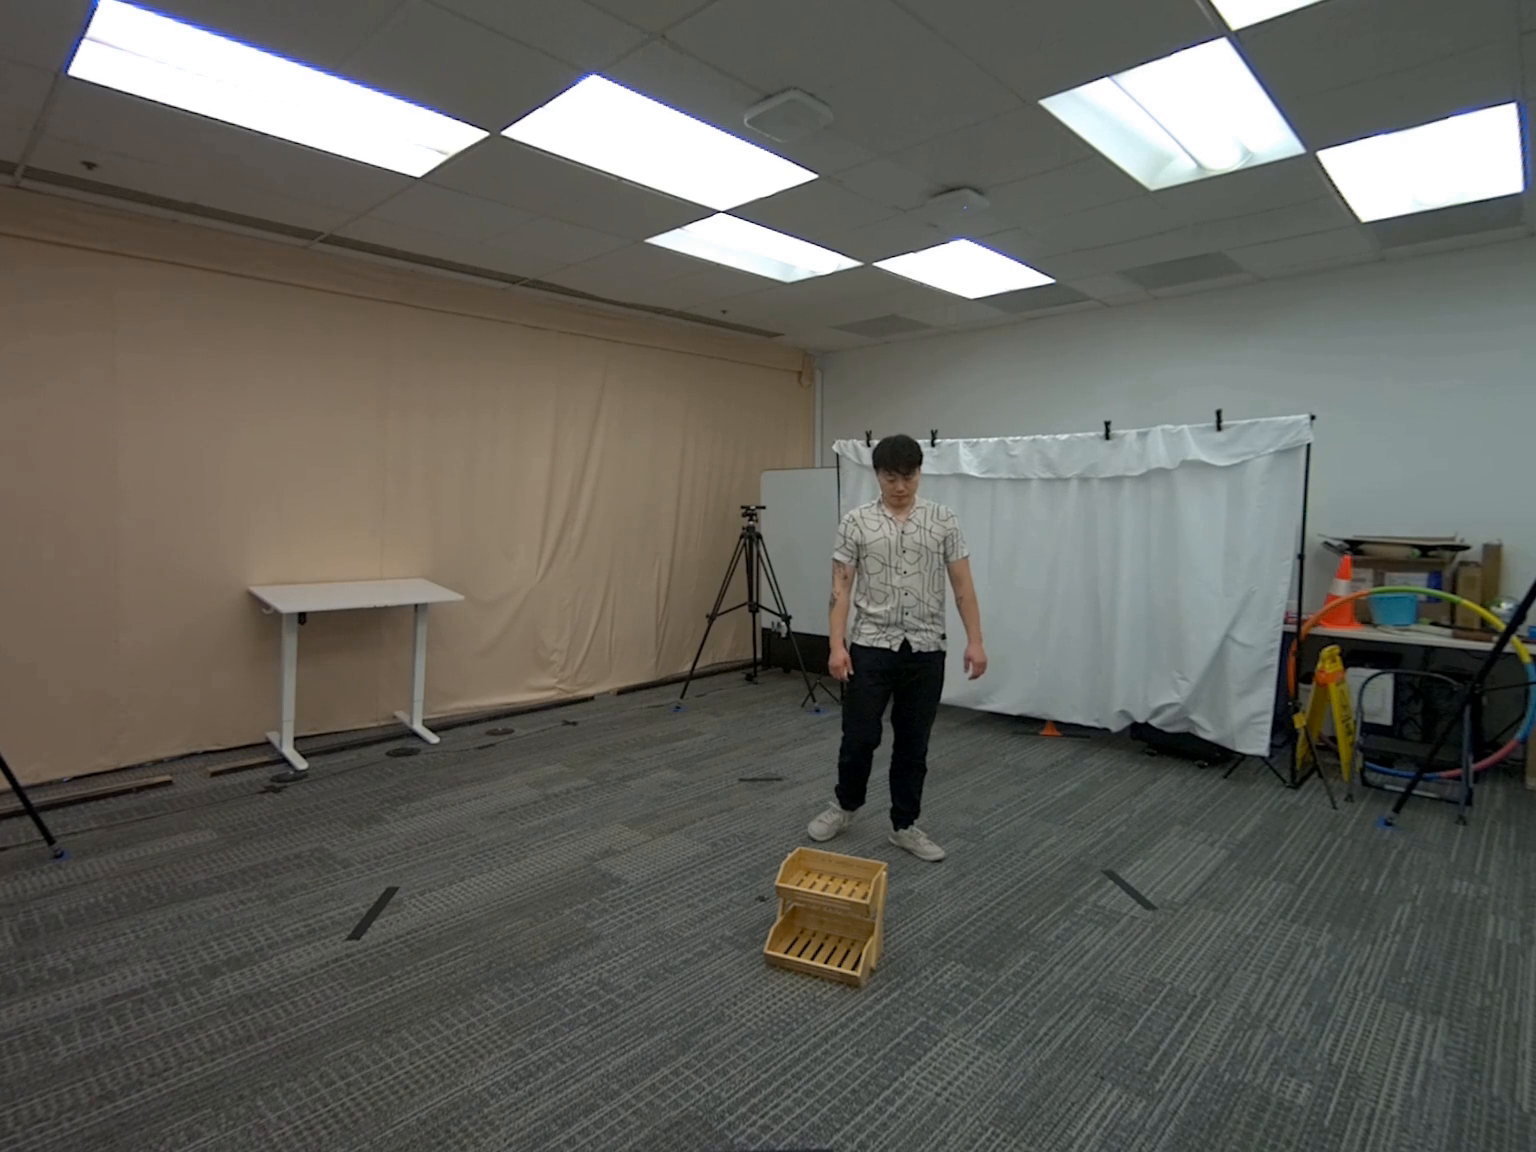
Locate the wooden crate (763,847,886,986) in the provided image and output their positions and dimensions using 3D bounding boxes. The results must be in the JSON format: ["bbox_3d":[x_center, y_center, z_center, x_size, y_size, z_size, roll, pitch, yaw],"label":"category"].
[{"bbox_3d":[0.187,1.044,2.598,0.333,0.273,0.295,2,4,25],"label":"wooden crate"}]
